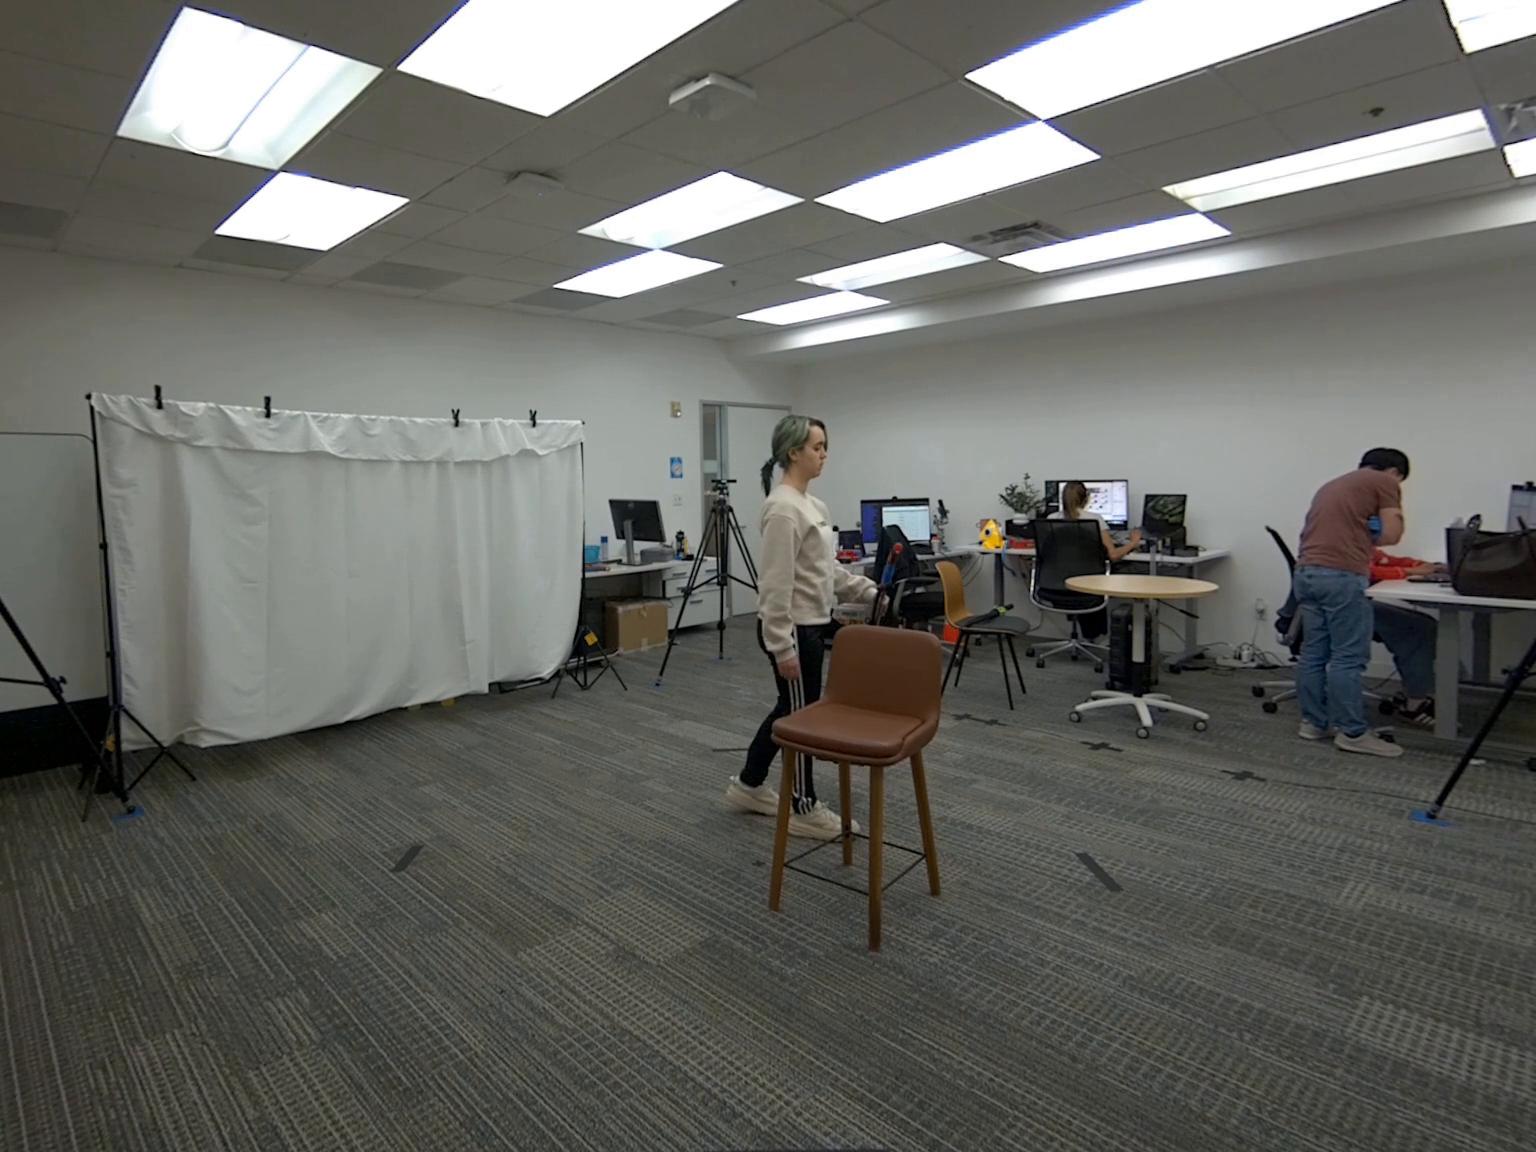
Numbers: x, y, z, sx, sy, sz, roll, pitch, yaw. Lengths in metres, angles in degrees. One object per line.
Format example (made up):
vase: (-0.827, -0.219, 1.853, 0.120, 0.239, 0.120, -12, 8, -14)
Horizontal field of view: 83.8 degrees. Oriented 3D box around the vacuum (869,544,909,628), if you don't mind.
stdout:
vacuum: (0.420, 0.348, 3.447, 0.249, 1.031, 0.148, 3, 27, -15)
